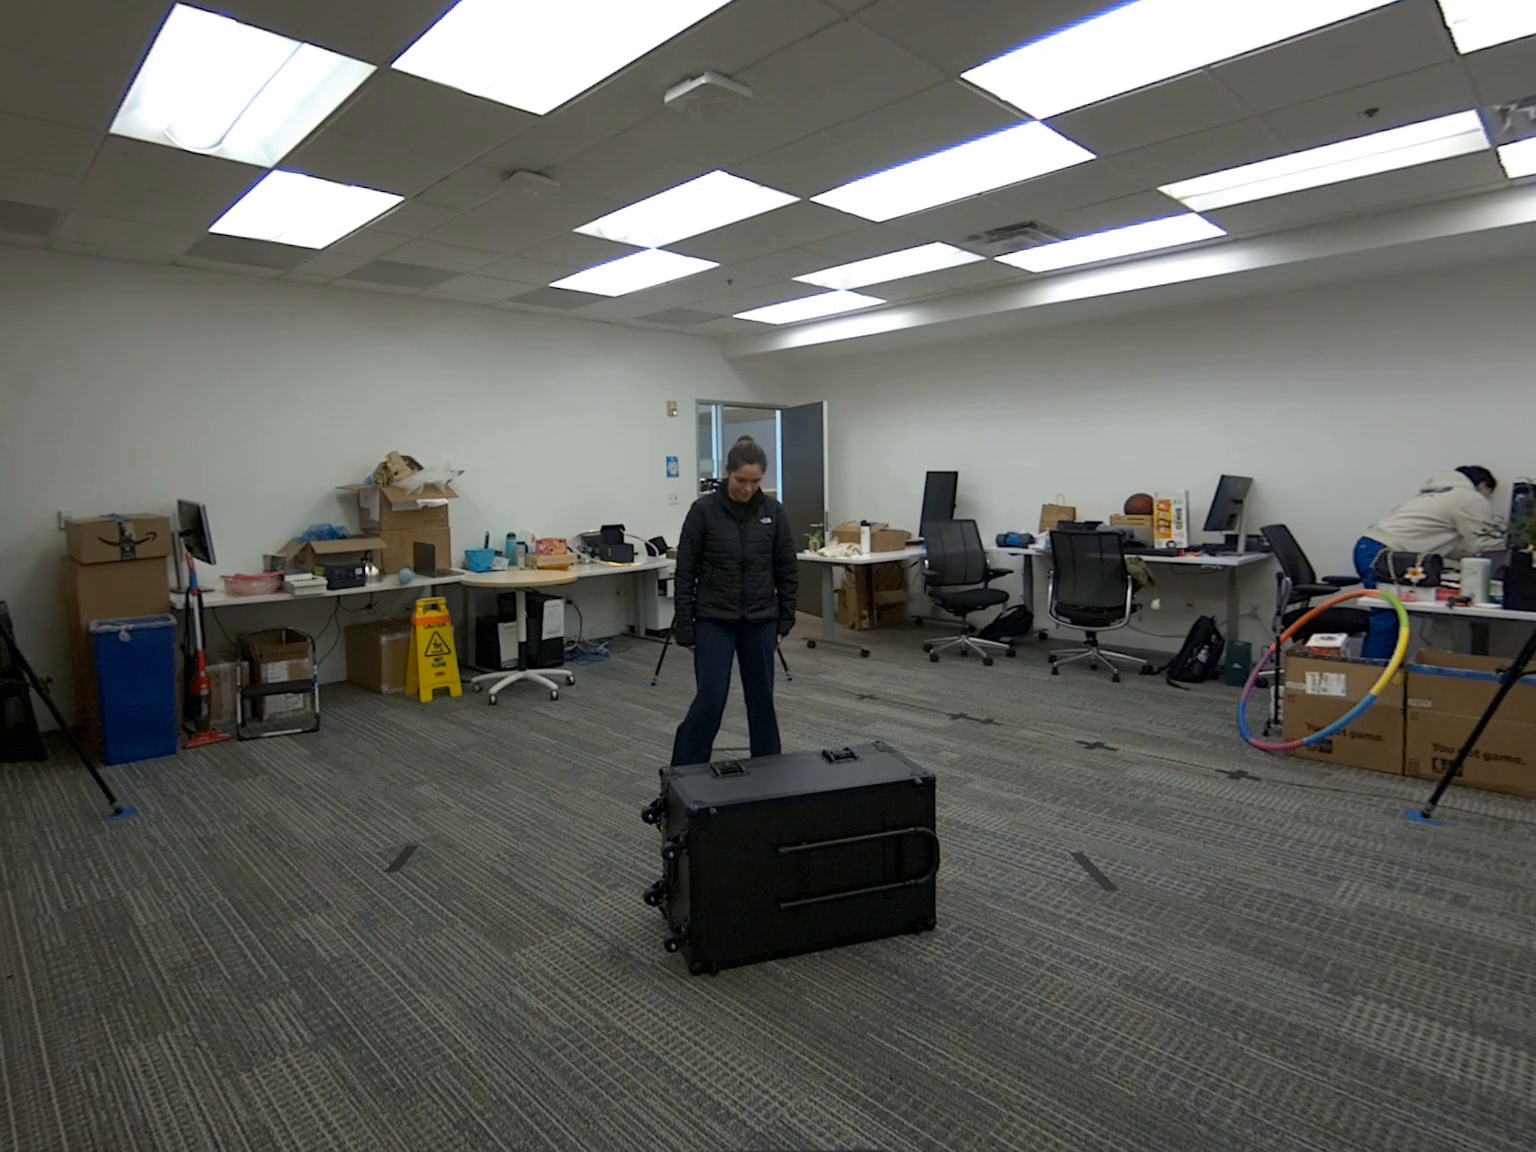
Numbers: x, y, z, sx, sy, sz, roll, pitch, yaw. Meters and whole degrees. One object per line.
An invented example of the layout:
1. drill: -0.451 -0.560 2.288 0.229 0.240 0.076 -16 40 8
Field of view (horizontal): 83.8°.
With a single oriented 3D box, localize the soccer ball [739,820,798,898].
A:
1. soccer ball: -0.002 0.977 2.976 0.187 0.187 0.188 -1 5 -2
